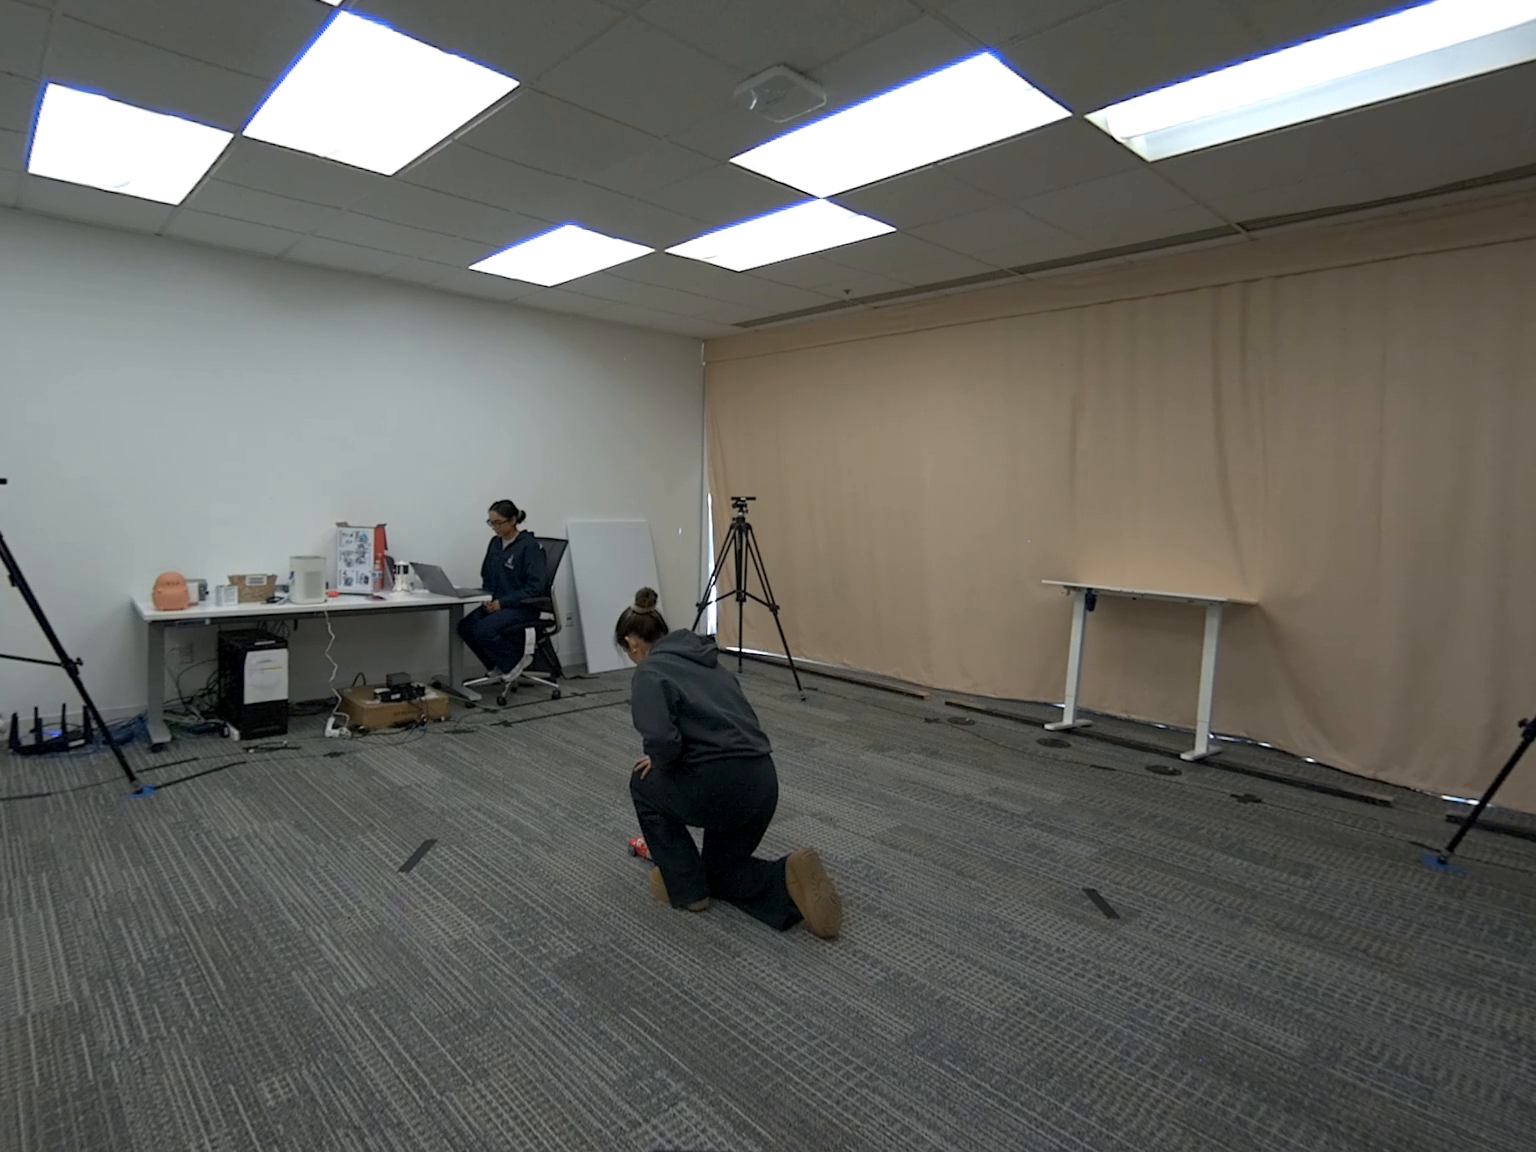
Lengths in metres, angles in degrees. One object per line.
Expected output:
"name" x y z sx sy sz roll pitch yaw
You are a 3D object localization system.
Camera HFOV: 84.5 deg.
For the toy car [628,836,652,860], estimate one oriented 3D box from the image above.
"toy car" -0.428 1.057 3.245 0.259 0.083 0.127 -9 -4 42
